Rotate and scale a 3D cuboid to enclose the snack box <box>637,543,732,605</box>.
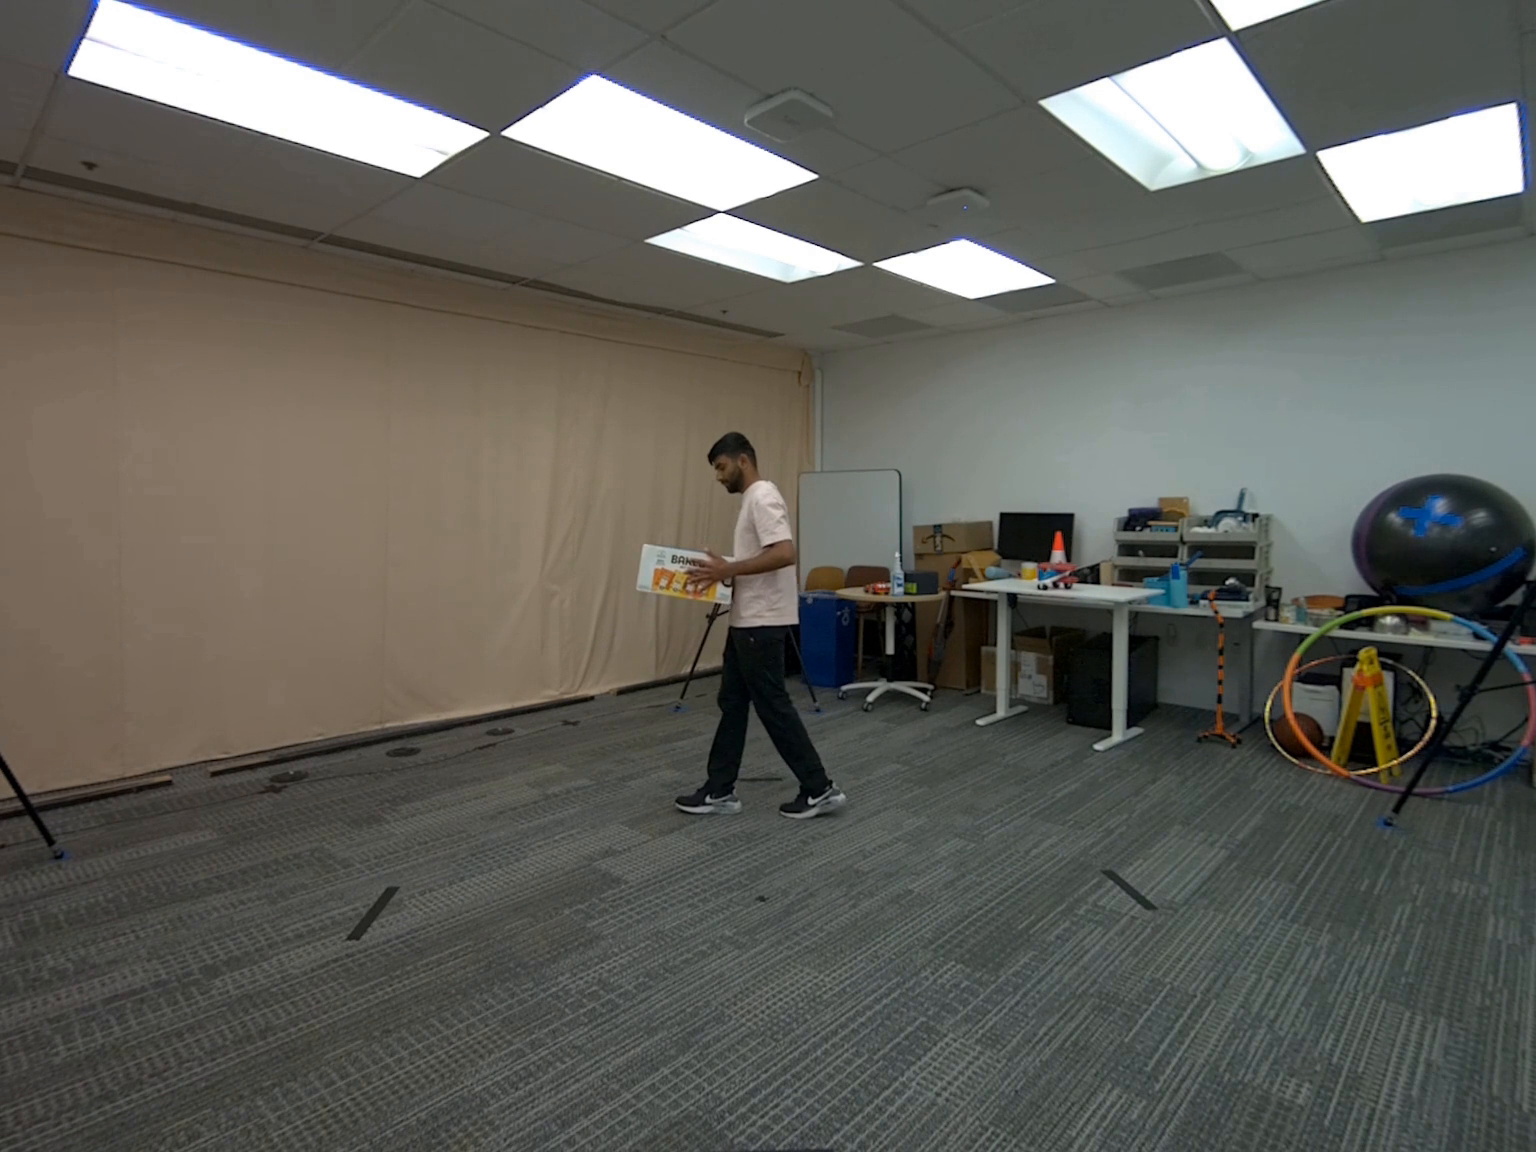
[{"bbox_3d":[-0.362,-0.015,3.768,0.403,0.206,0.342,8,0,-4],"label":"snack box"}]
